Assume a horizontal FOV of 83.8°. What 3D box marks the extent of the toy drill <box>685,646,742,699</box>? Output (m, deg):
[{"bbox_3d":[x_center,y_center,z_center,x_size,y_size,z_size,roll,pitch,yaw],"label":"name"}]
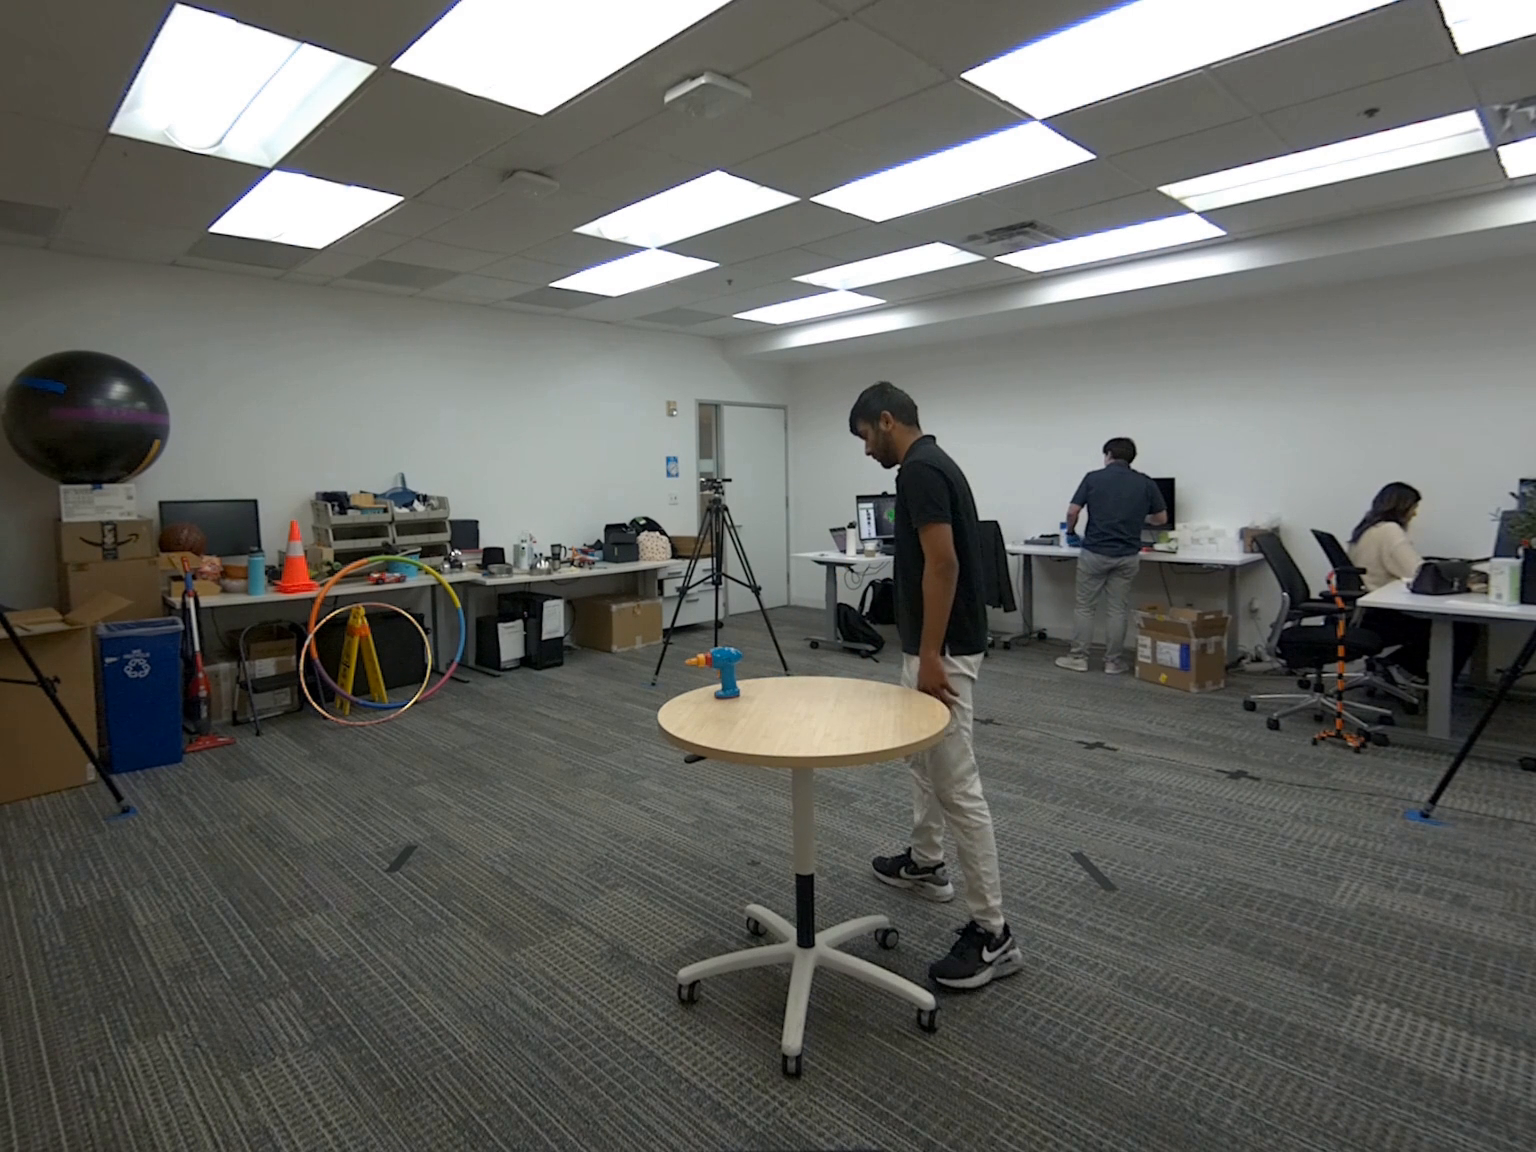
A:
[{"bbox_3d":[-0.144,0.271,2.412,0.167,0.145,0.062,-3,4,-21],"label":"toy drill"}]
